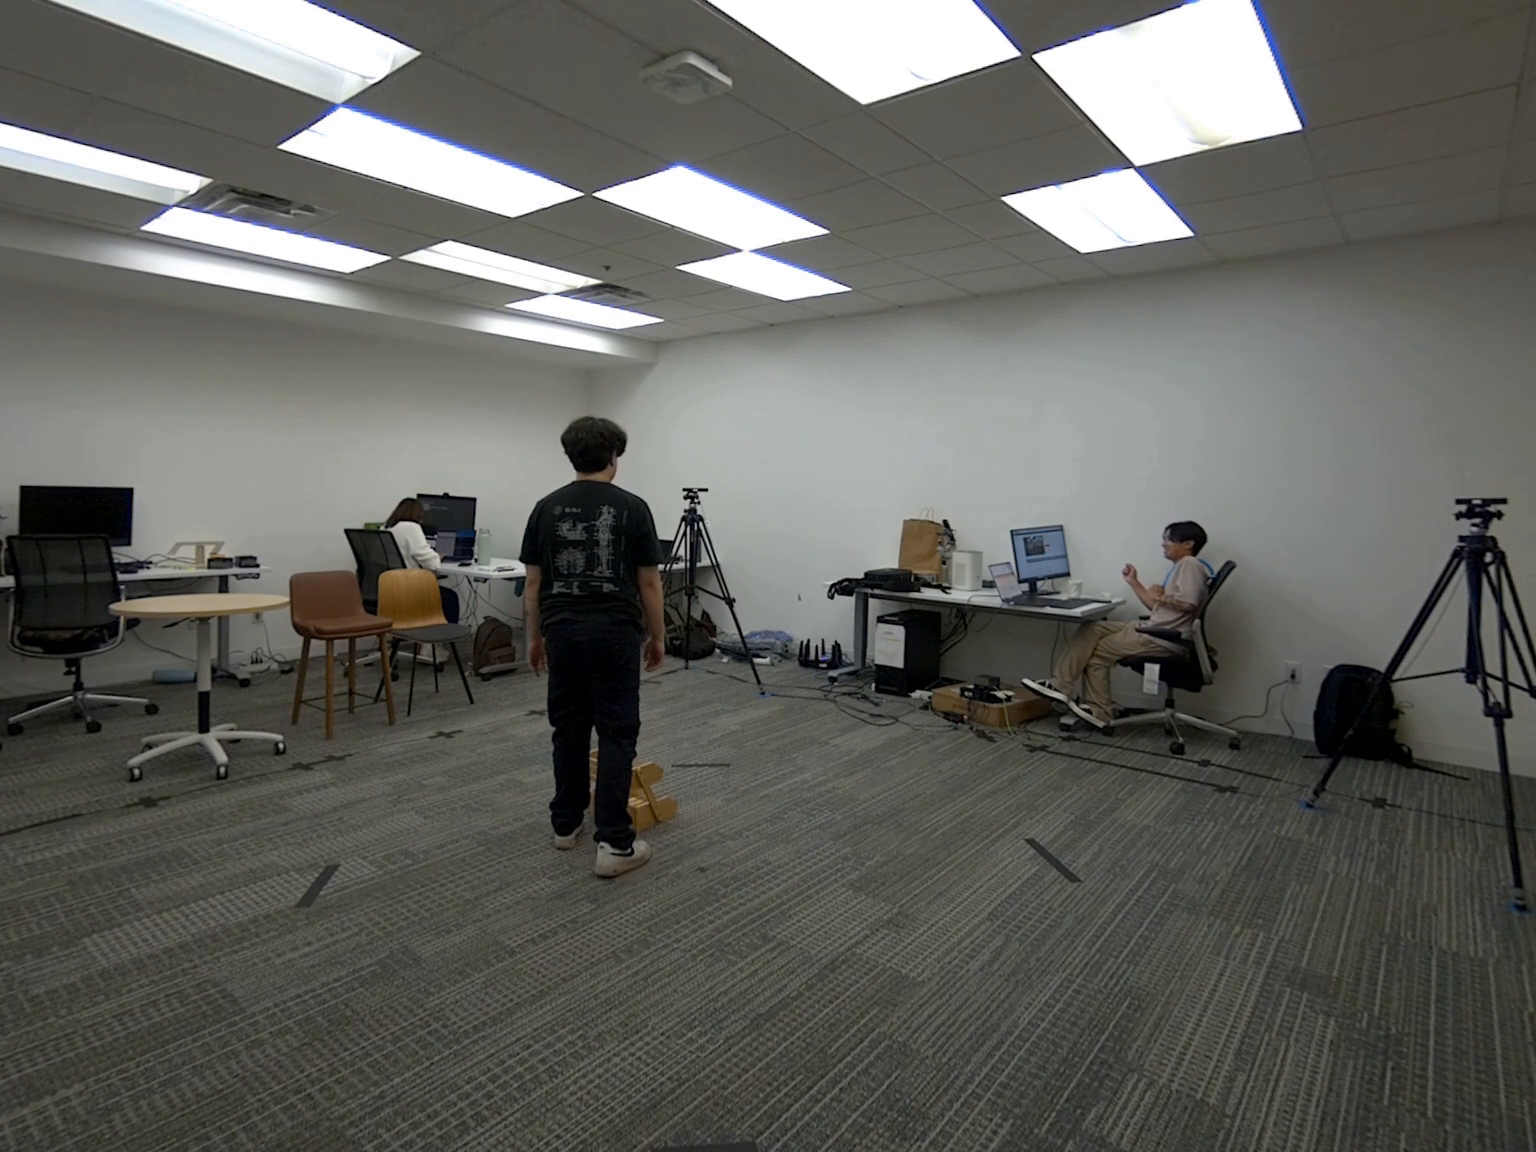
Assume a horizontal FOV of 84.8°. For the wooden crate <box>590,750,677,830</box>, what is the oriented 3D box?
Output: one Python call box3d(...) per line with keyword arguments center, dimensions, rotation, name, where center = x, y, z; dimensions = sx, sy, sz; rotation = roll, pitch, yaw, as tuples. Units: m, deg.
box3d(center=(-0.604, 0.883, 3.618), dimensions=(0.335, 0.272, 0.293), rotation=(4, 6, 38), name="wooden crate")
